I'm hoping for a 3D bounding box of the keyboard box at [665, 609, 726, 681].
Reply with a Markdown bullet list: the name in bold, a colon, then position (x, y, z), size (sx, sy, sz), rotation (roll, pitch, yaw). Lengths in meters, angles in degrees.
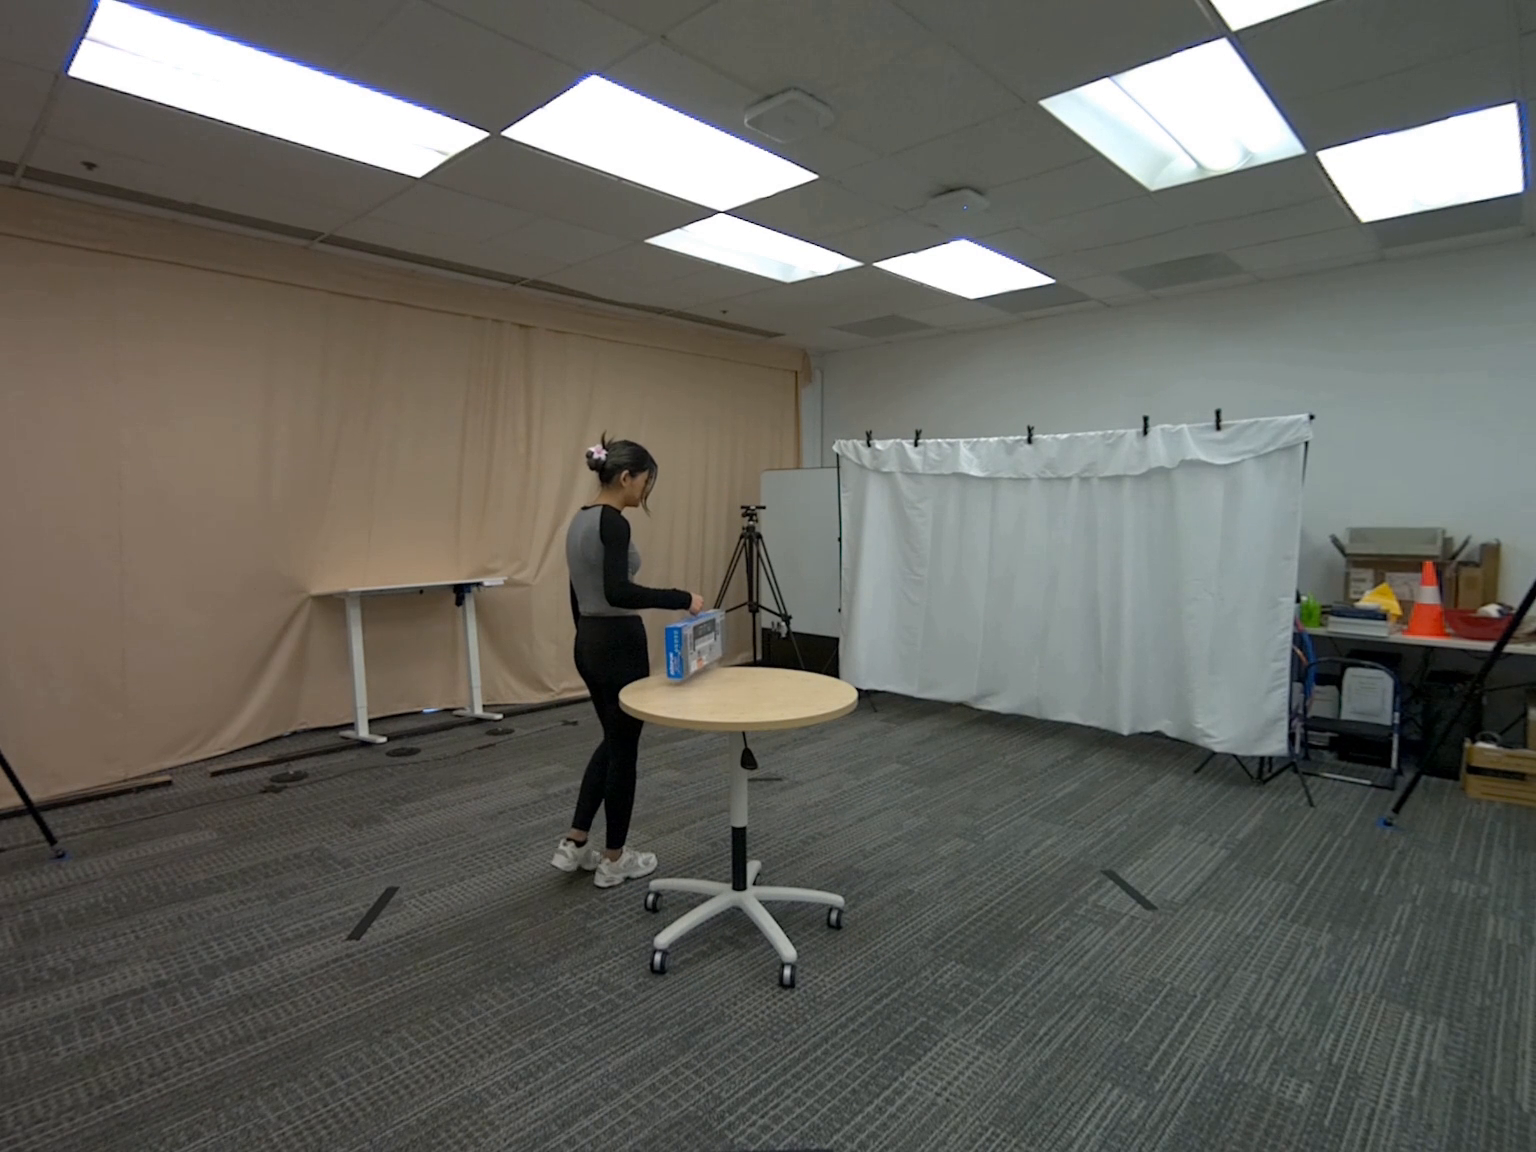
- **keyboard box**: position (-0.246, 0.232, 2.975), size (0.060, 0.175, 0.430), rotation (0, 5, 17)
